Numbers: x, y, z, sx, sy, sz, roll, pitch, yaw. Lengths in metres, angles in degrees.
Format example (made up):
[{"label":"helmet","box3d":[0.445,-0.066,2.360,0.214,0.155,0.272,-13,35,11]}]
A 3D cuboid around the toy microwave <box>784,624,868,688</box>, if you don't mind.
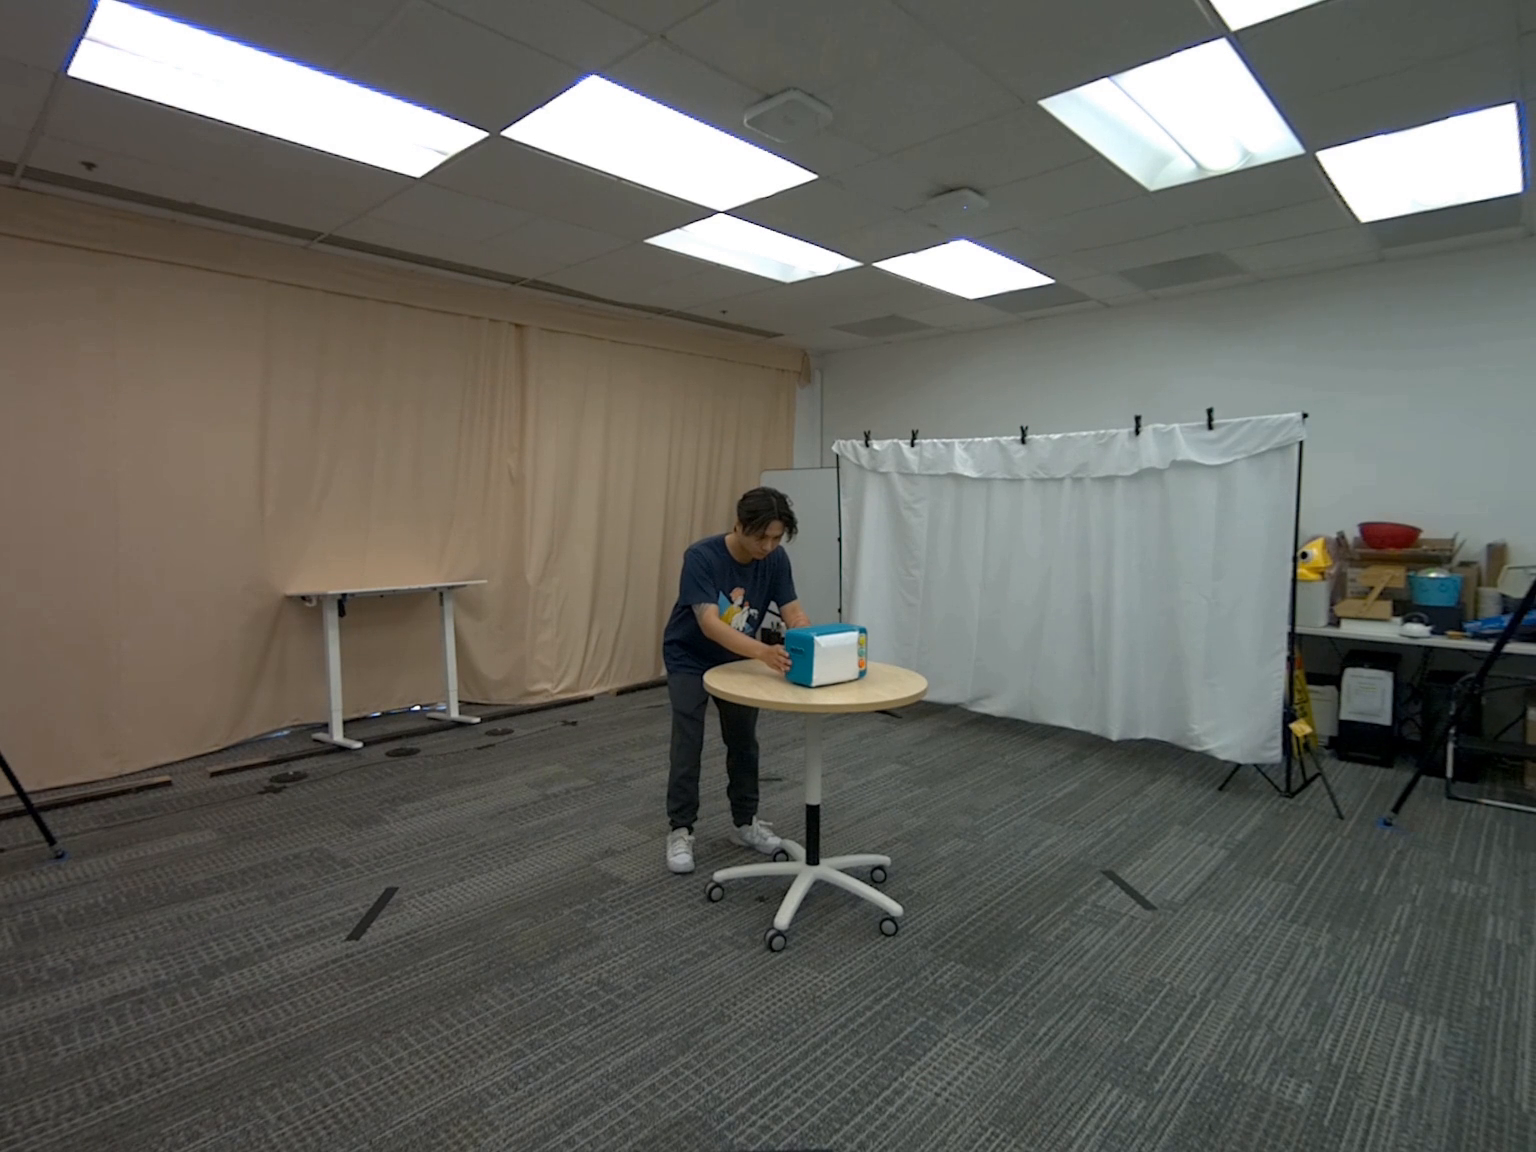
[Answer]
[{"label":"toy microwave","box3d":[0.211,0.266,2.842,0.277,0.183,0.157,-3,6,-39]}]
